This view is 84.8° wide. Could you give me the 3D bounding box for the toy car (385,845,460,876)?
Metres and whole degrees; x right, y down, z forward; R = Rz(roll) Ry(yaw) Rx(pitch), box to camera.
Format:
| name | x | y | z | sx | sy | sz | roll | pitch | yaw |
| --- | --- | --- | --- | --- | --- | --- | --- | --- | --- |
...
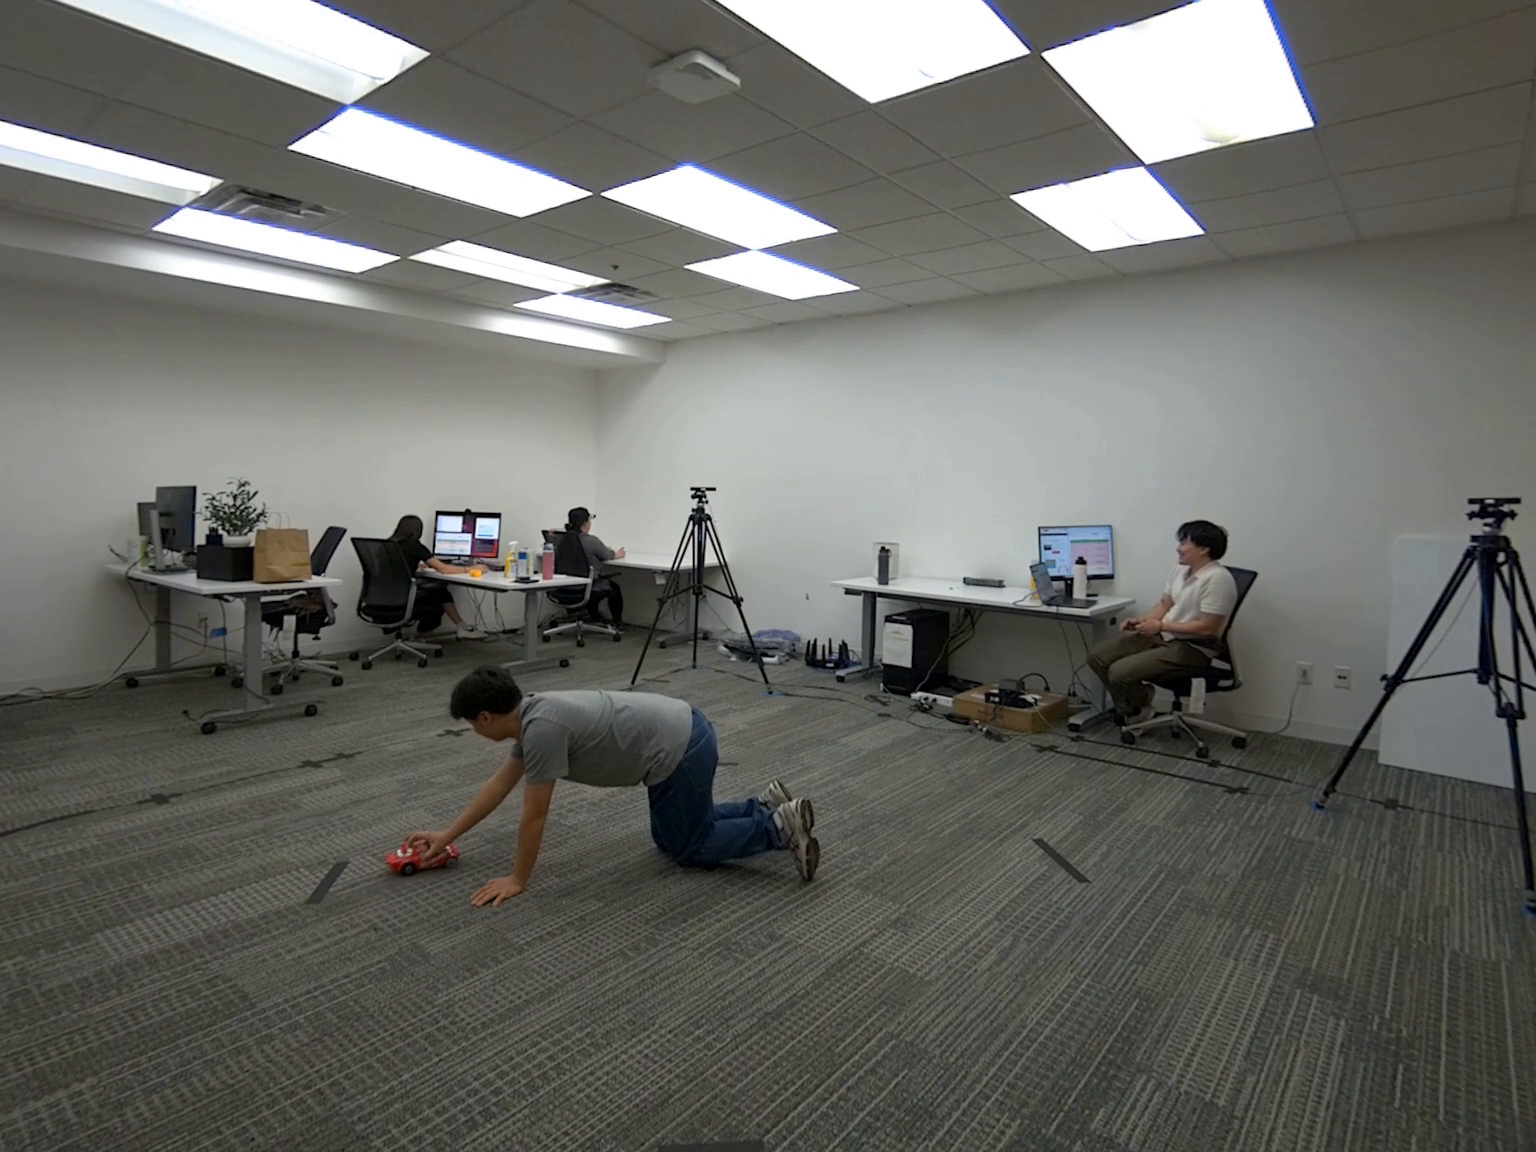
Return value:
| name | x | y | z | sx | sy | sz | roll | pitch | yaw |
| --- | --- | --- | --- | --- | --- | --- | --- | --- | --- |
| toy car | -1.270 | 1.022 | 3.085 | 0.247 | 0.083 | 0.134 | 11 | -1 | -27 |
